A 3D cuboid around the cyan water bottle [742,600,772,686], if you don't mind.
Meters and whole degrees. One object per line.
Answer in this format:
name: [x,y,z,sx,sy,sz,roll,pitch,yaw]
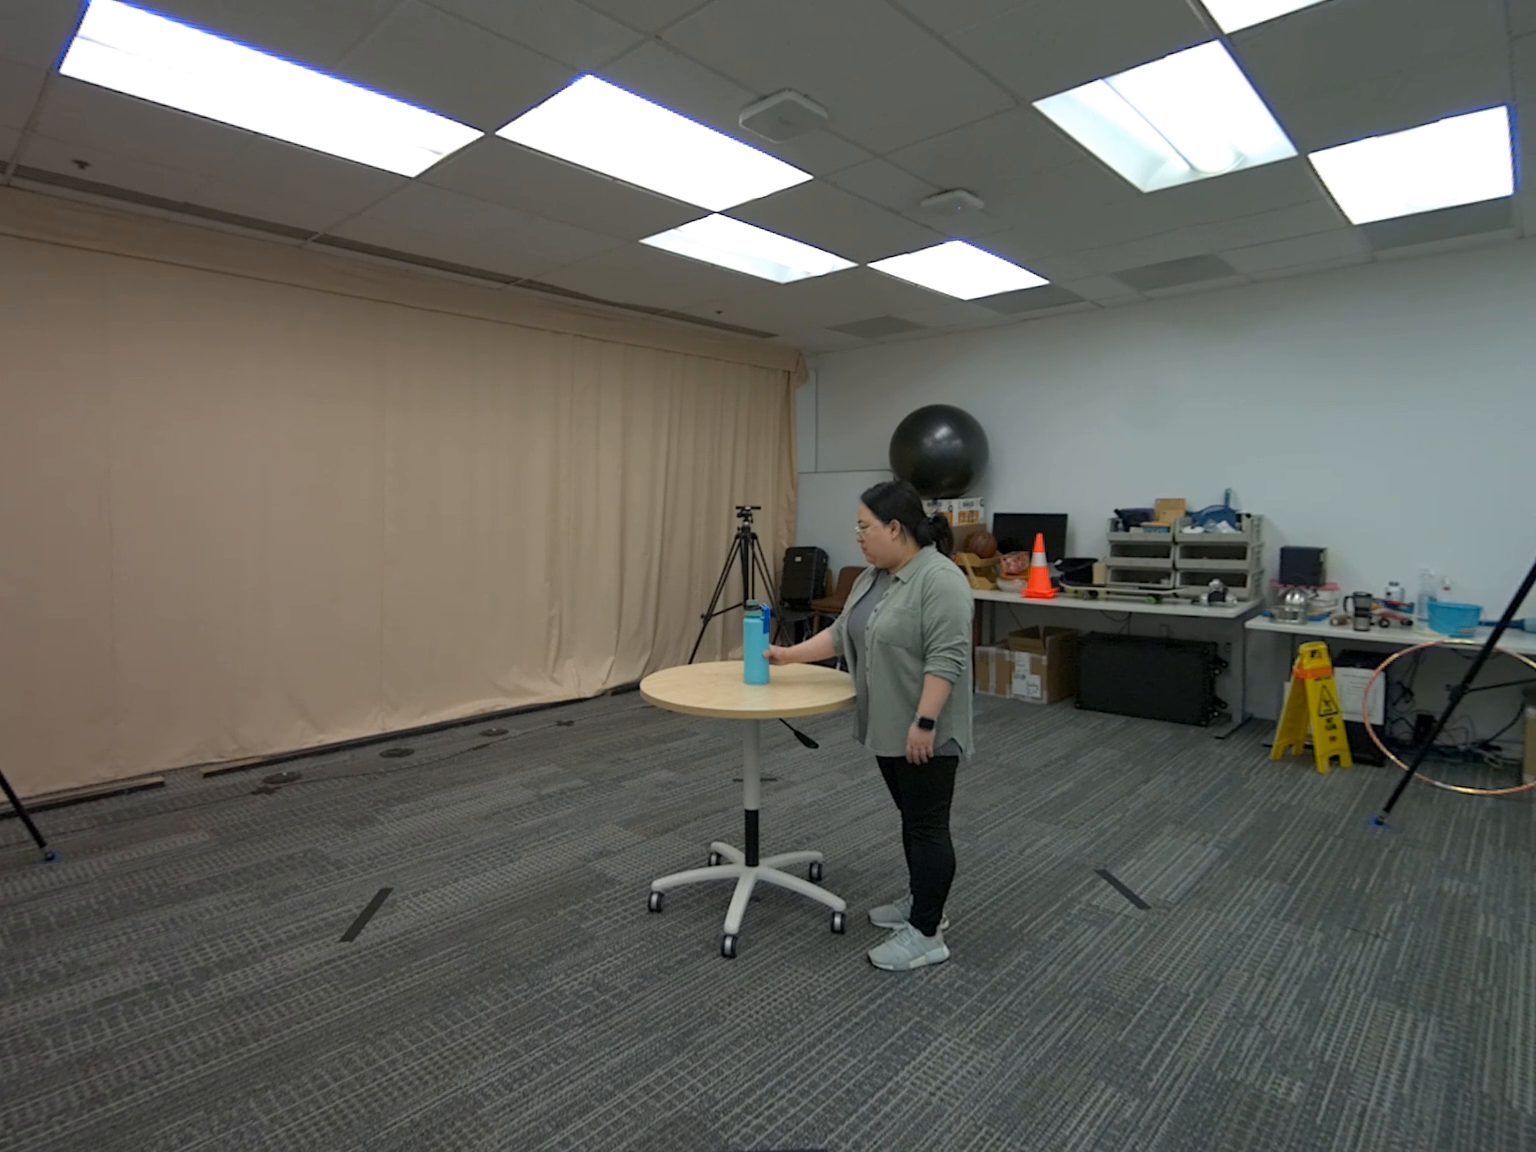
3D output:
cyan water bottle: [-0.027,0.233,2.895,0.092,0.283,0.093,1,4,-2]
